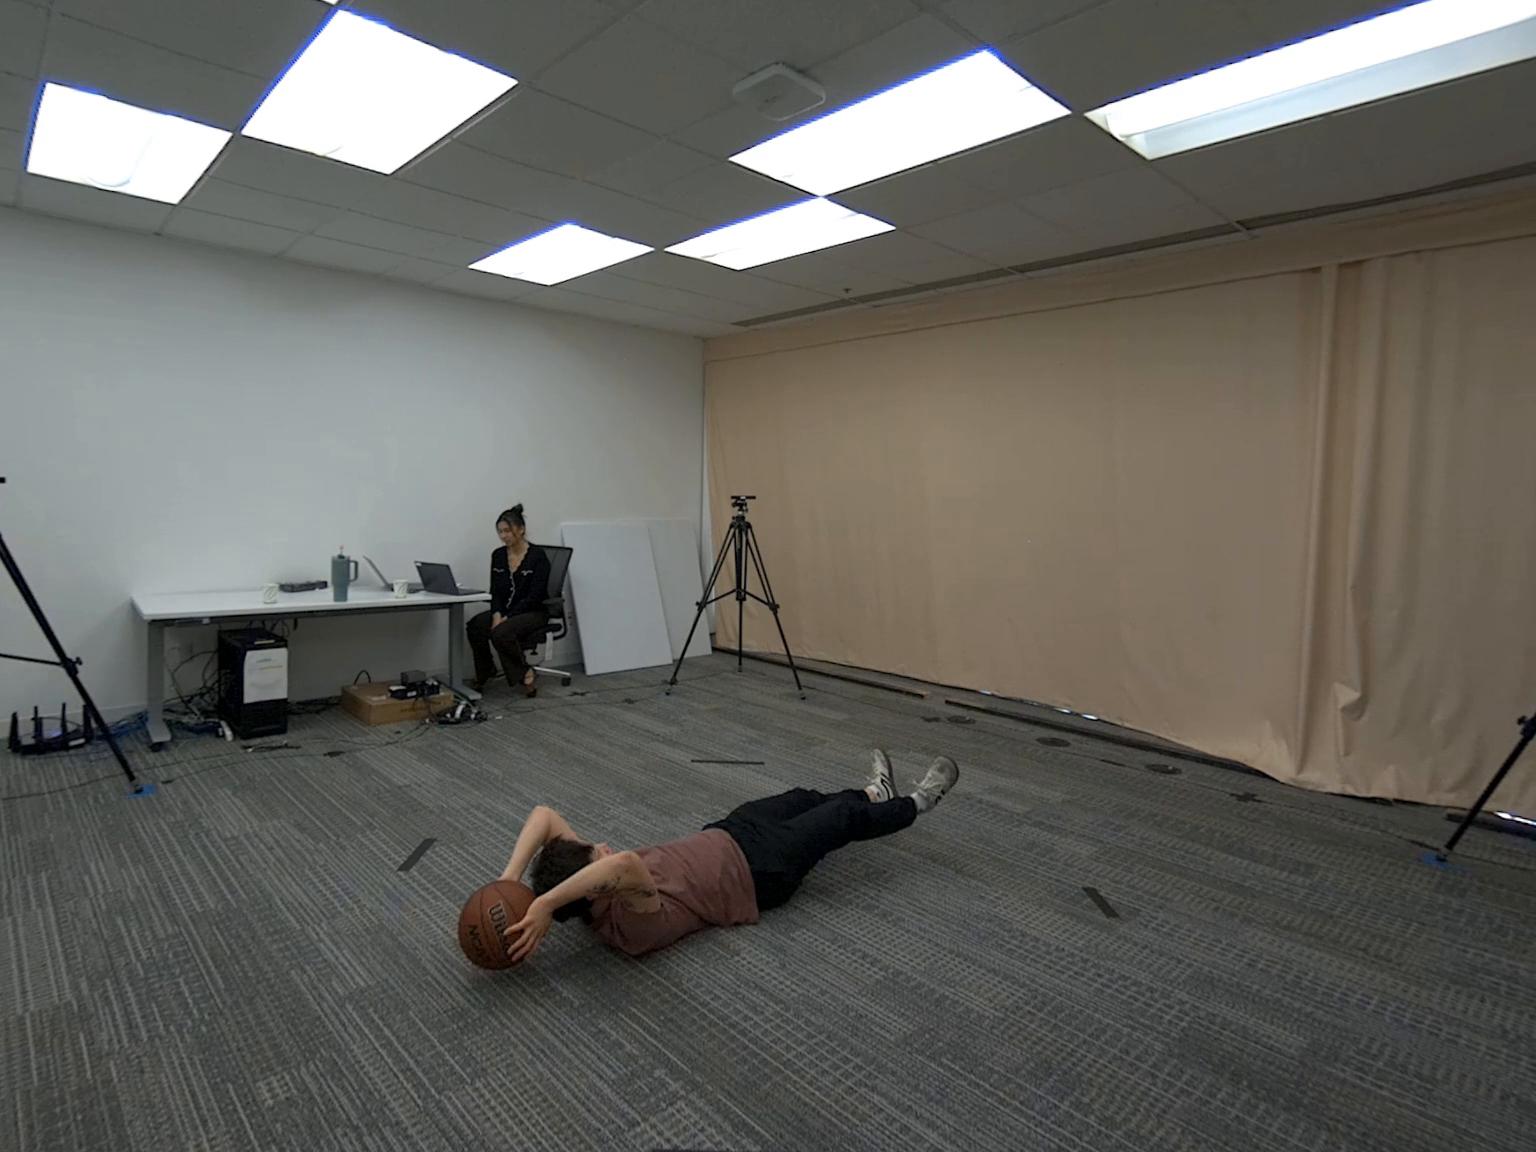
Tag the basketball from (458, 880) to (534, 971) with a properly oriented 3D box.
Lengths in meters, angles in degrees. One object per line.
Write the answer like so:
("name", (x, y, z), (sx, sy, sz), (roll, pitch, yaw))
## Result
("basketball", (-0.774, 0.986, 2.403), (0.236, 0.235, 0.237), (2, 4, -2))
